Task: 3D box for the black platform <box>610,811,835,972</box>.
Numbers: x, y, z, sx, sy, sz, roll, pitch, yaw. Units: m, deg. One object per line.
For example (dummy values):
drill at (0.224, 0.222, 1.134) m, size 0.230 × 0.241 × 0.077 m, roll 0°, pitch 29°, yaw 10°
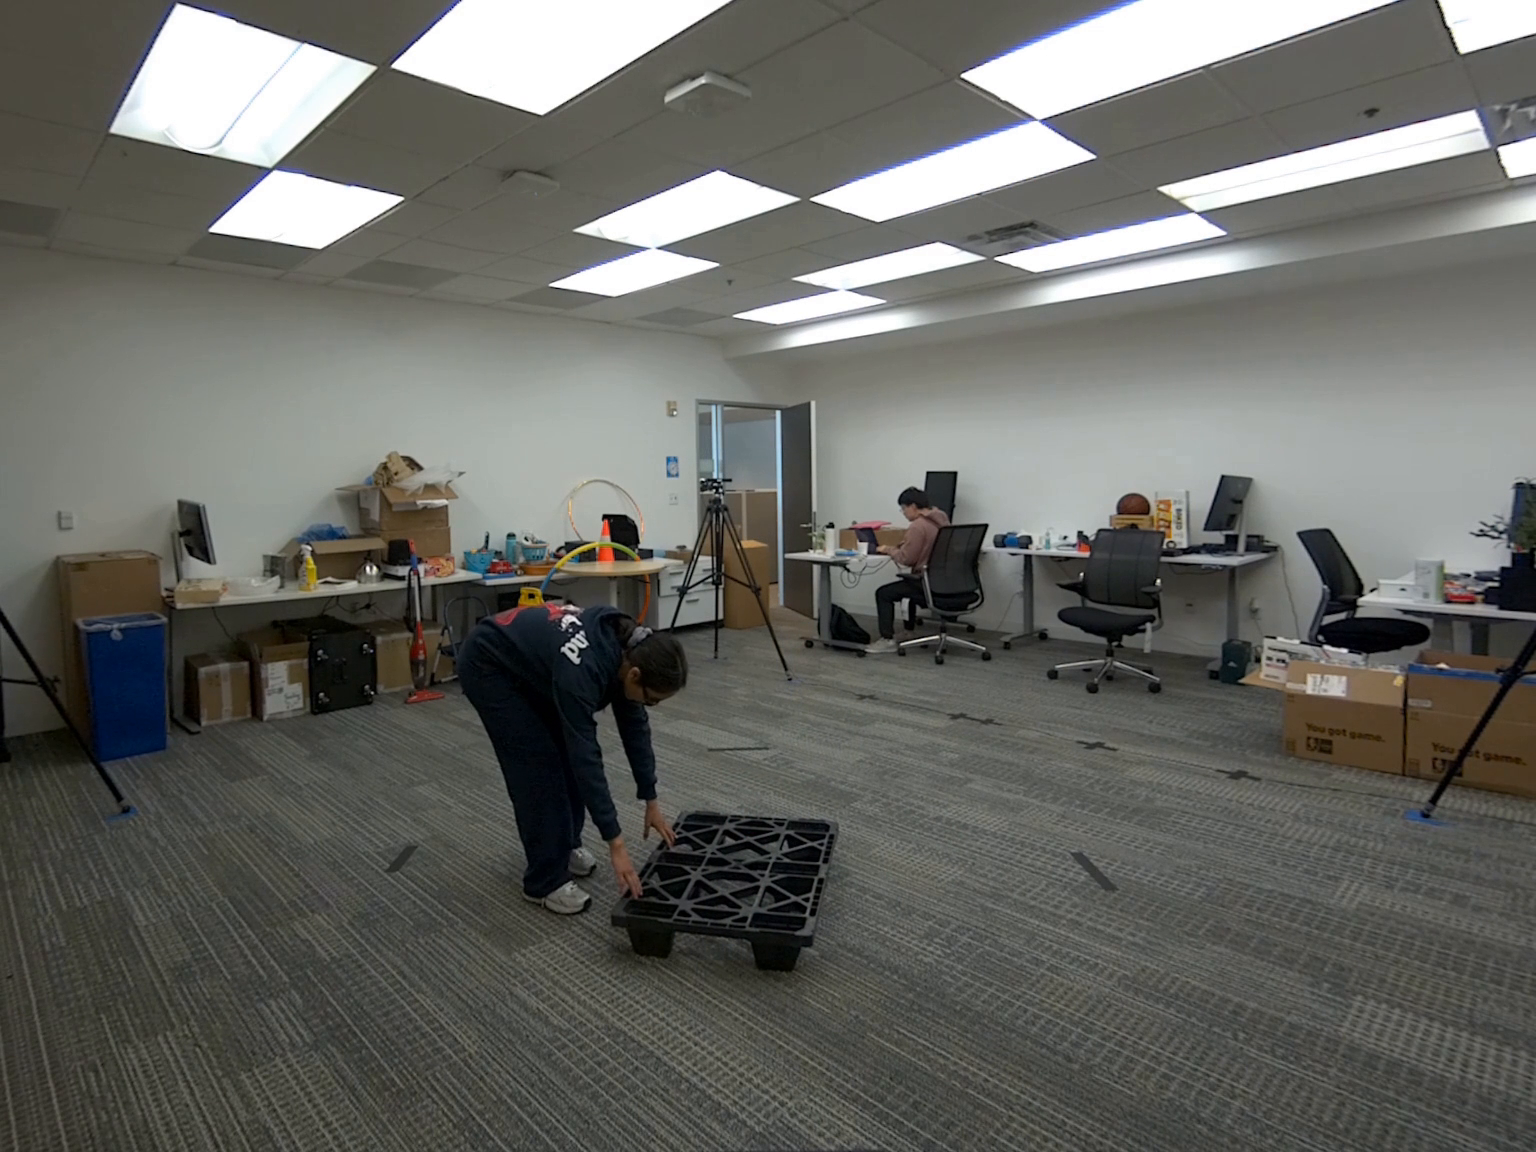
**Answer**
black platform at (-0.105, 1.008, 2.818) m, size 0.612 × 0.143 × 0.800 m, roll -1°, pitch 6°, yaw 11°
